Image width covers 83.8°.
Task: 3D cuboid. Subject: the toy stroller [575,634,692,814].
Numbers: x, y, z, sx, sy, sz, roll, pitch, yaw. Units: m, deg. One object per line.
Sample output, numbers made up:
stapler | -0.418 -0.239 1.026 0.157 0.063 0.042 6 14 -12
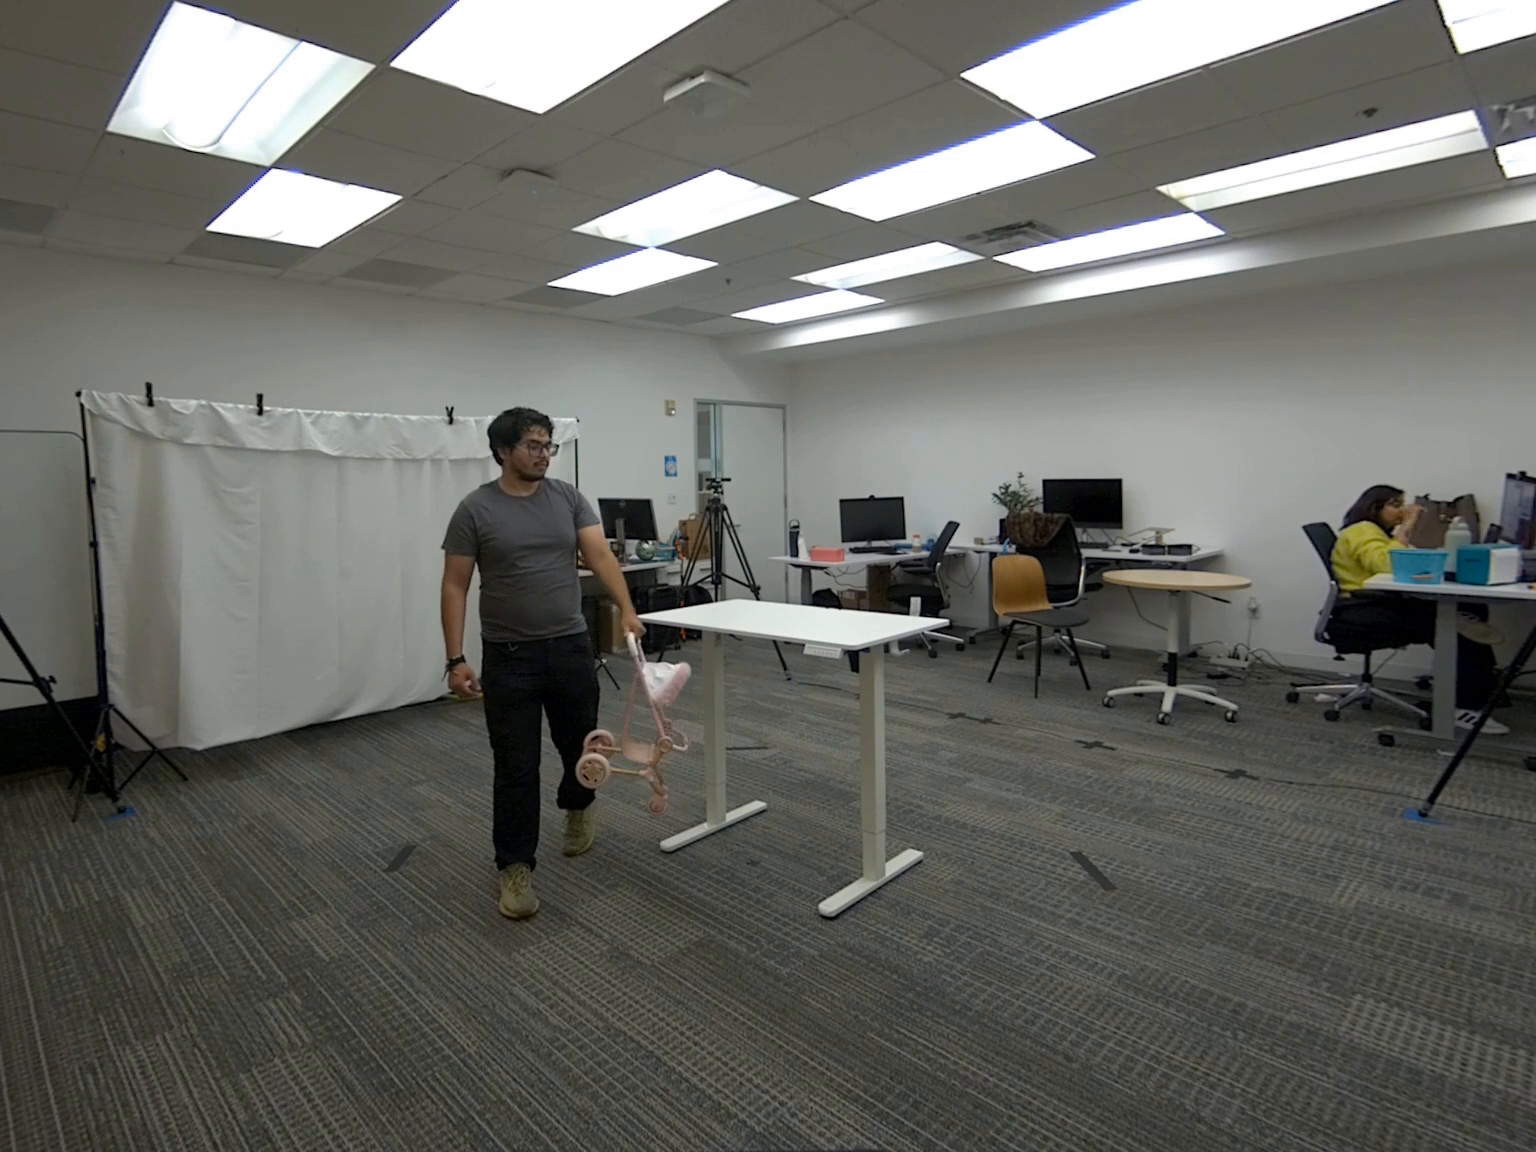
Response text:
toy stroller | -0.393 0.480 2.778 0.341 0.534 0.282 22 2 -1
